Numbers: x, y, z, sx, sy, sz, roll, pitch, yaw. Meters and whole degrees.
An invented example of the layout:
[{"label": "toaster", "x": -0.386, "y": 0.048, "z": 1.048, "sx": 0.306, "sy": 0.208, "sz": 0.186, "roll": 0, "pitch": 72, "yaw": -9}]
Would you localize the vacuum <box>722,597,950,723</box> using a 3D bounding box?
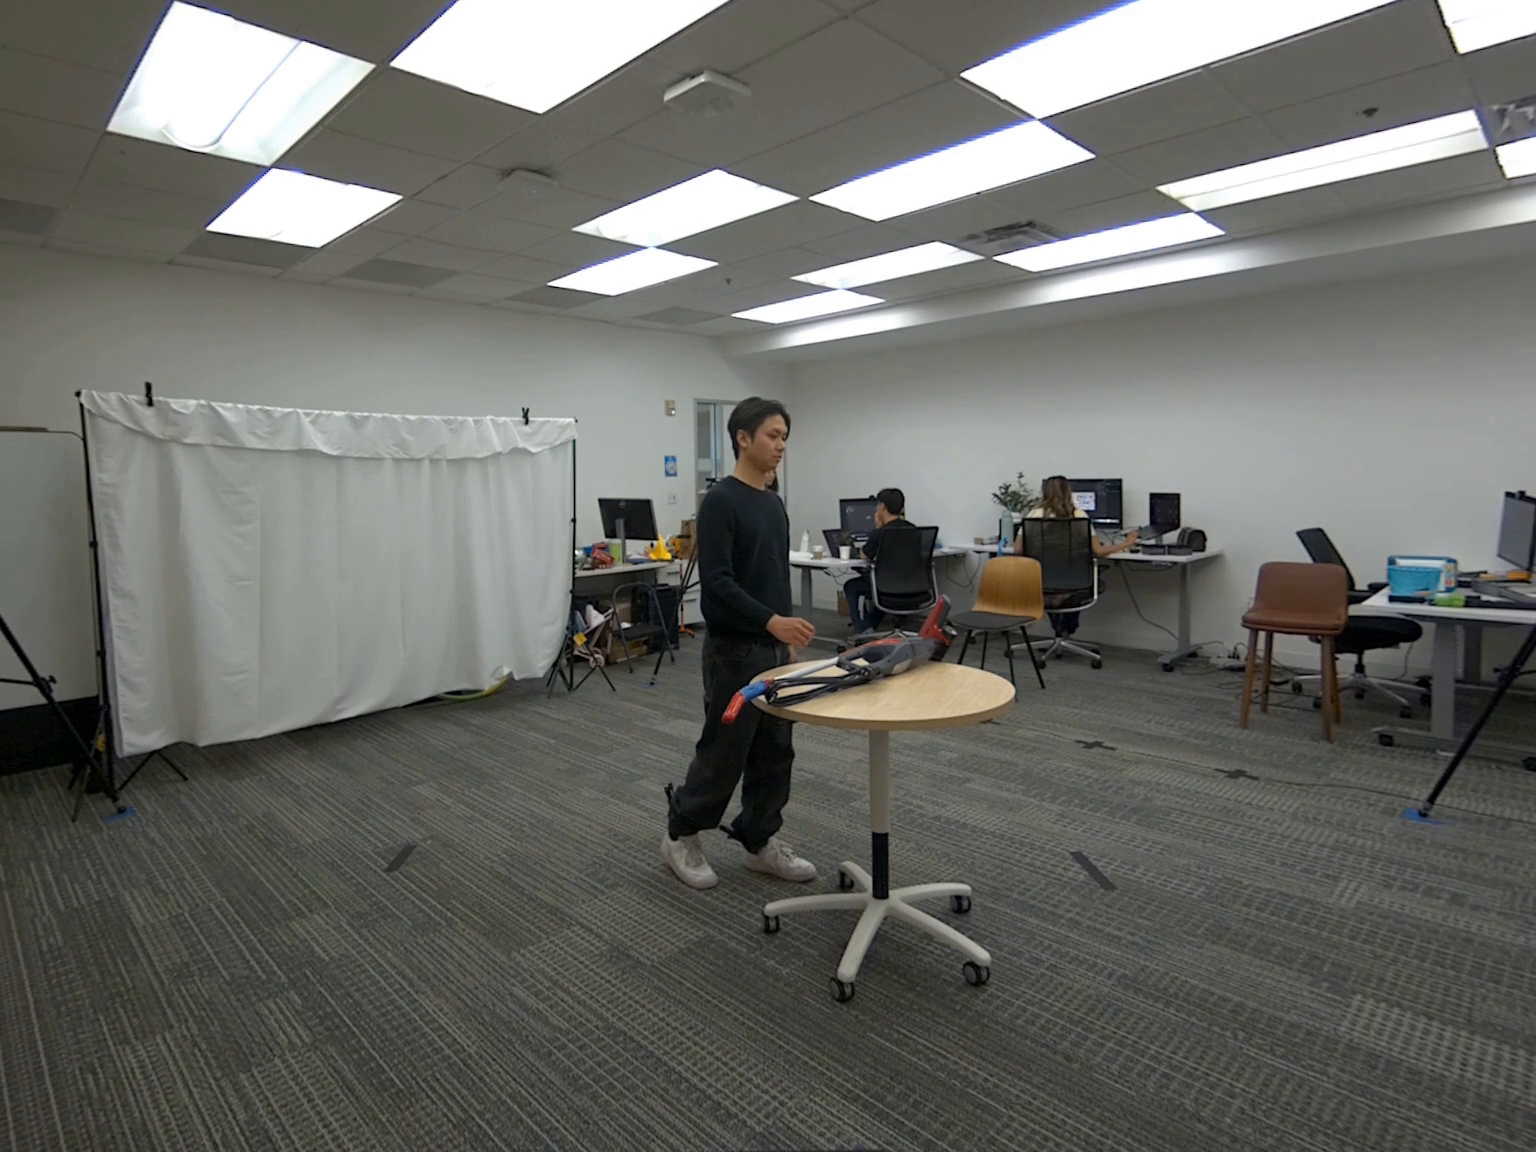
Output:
[{"label": "vacuum", "x": 0.229, "y": 0.285, "z": 2.510, "sx": 1.025, "sy": 0.250, "sz": 0.149, "roll": -13, "pitch": 47, "yaw": -46}]
